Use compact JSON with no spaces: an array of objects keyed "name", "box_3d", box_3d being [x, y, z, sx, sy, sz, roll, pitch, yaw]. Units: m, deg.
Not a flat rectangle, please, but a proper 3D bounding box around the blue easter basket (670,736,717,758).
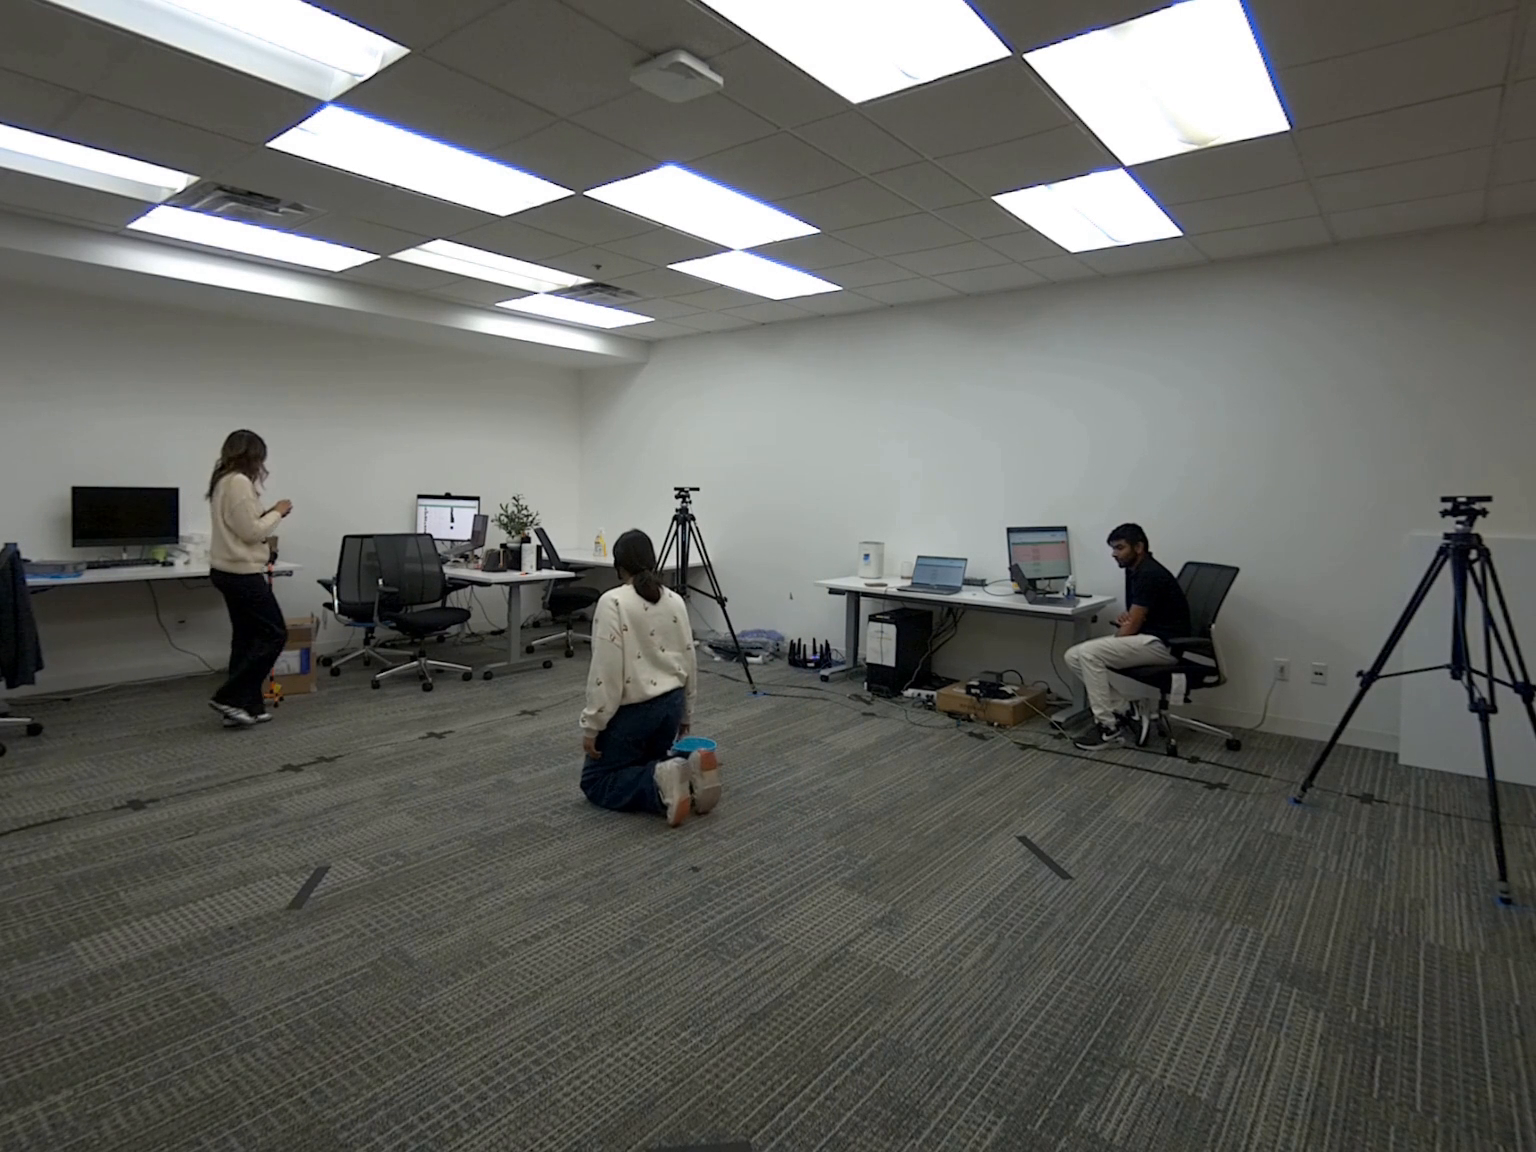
[{"name":"blue easter basket","box_3d":[-0.370,0.885,4.120,0.243,0.155,0.245,0,6,-2]}]
